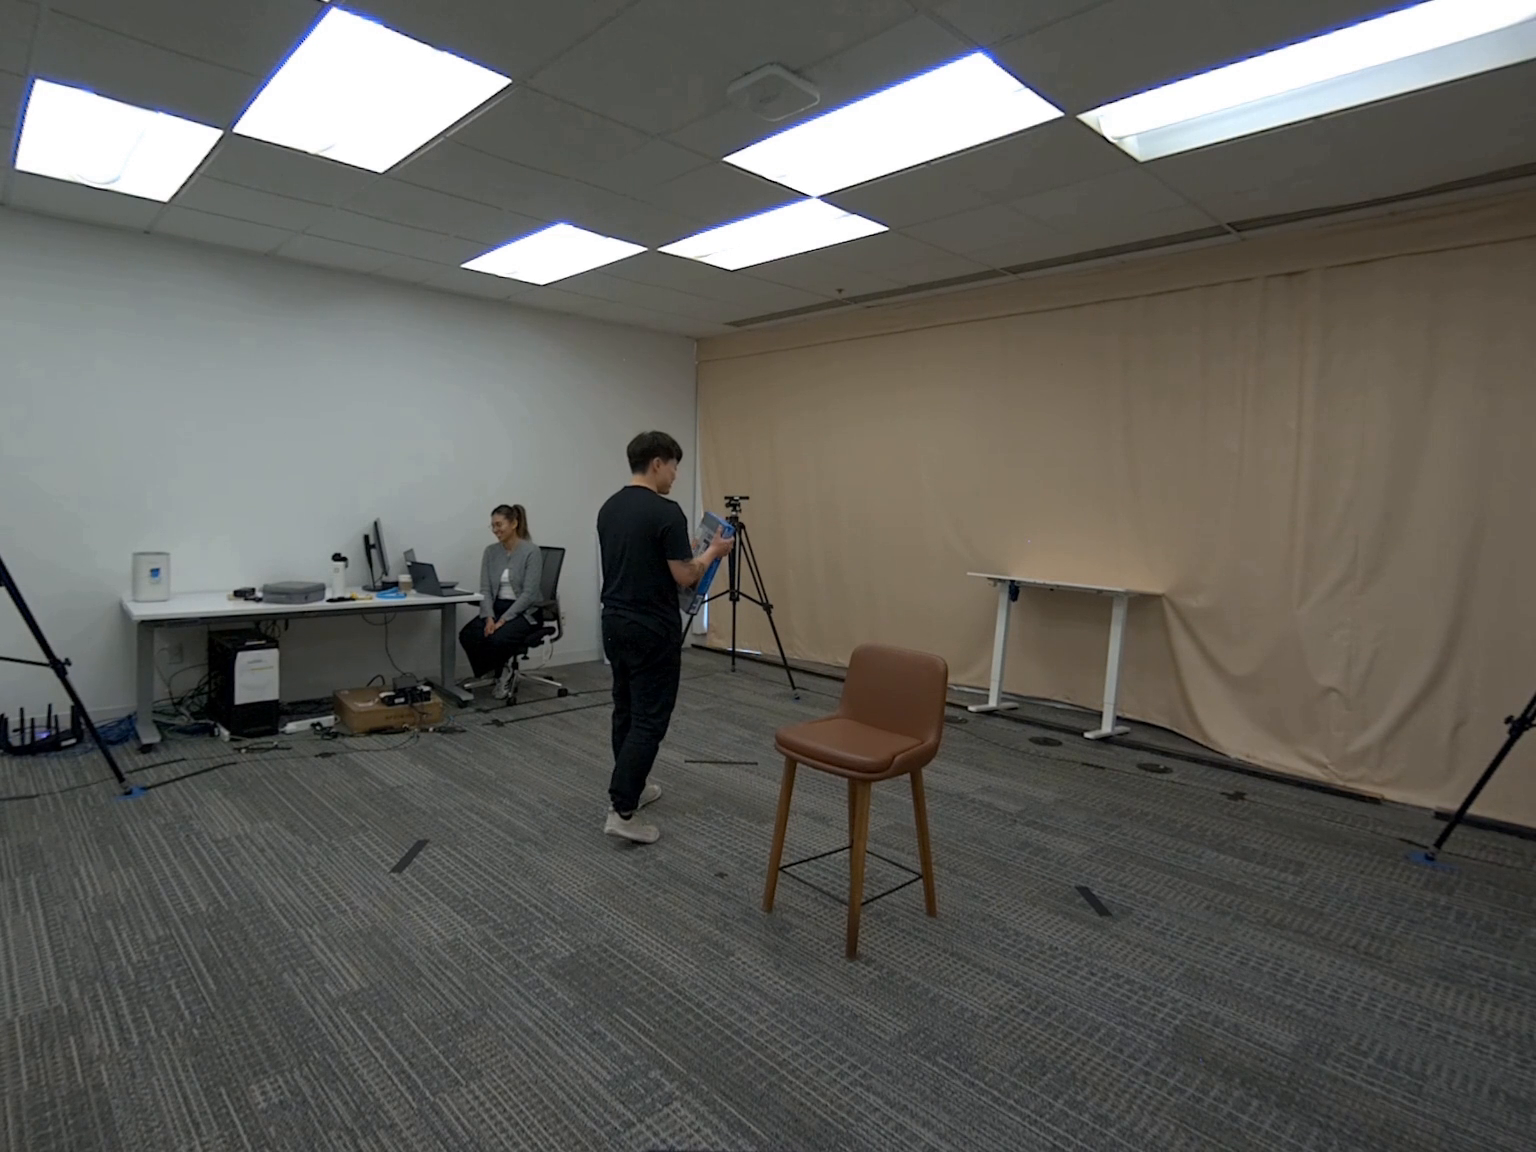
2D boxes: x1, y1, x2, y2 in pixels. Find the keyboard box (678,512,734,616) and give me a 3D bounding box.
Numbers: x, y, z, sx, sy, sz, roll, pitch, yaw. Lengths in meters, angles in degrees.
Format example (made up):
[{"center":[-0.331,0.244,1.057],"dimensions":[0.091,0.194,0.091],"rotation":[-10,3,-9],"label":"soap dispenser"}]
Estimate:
[{"center":[-0.319,-0.054,3.767],"dimensions":[0.057,0.435,0.182],"rotation":[14,16,-41],"label":"keyboard box"}]
